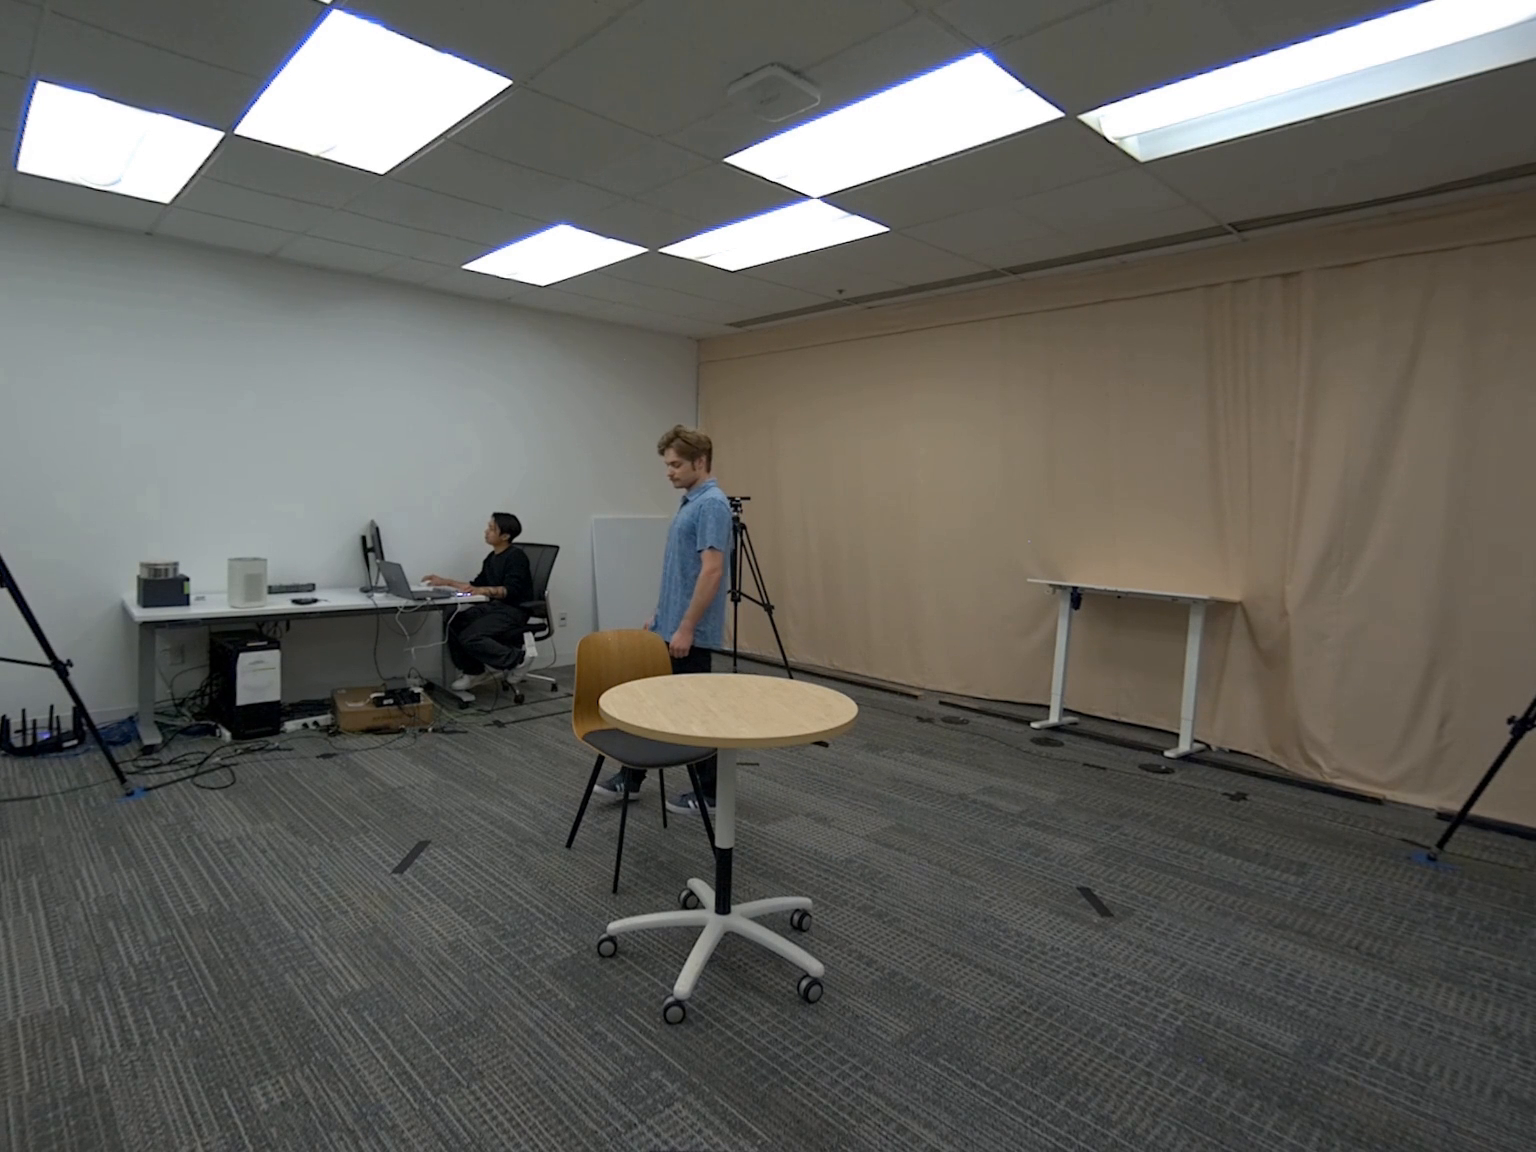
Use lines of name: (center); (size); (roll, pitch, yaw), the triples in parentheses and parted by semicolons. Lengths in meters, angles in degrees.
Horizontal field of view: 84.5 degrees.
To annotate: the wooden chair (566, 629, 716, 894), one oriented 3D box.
wooden chair: (-0.479, 0.663, 3.214); (0.468, 0.878, 0.534); (-1, -1, -35)
